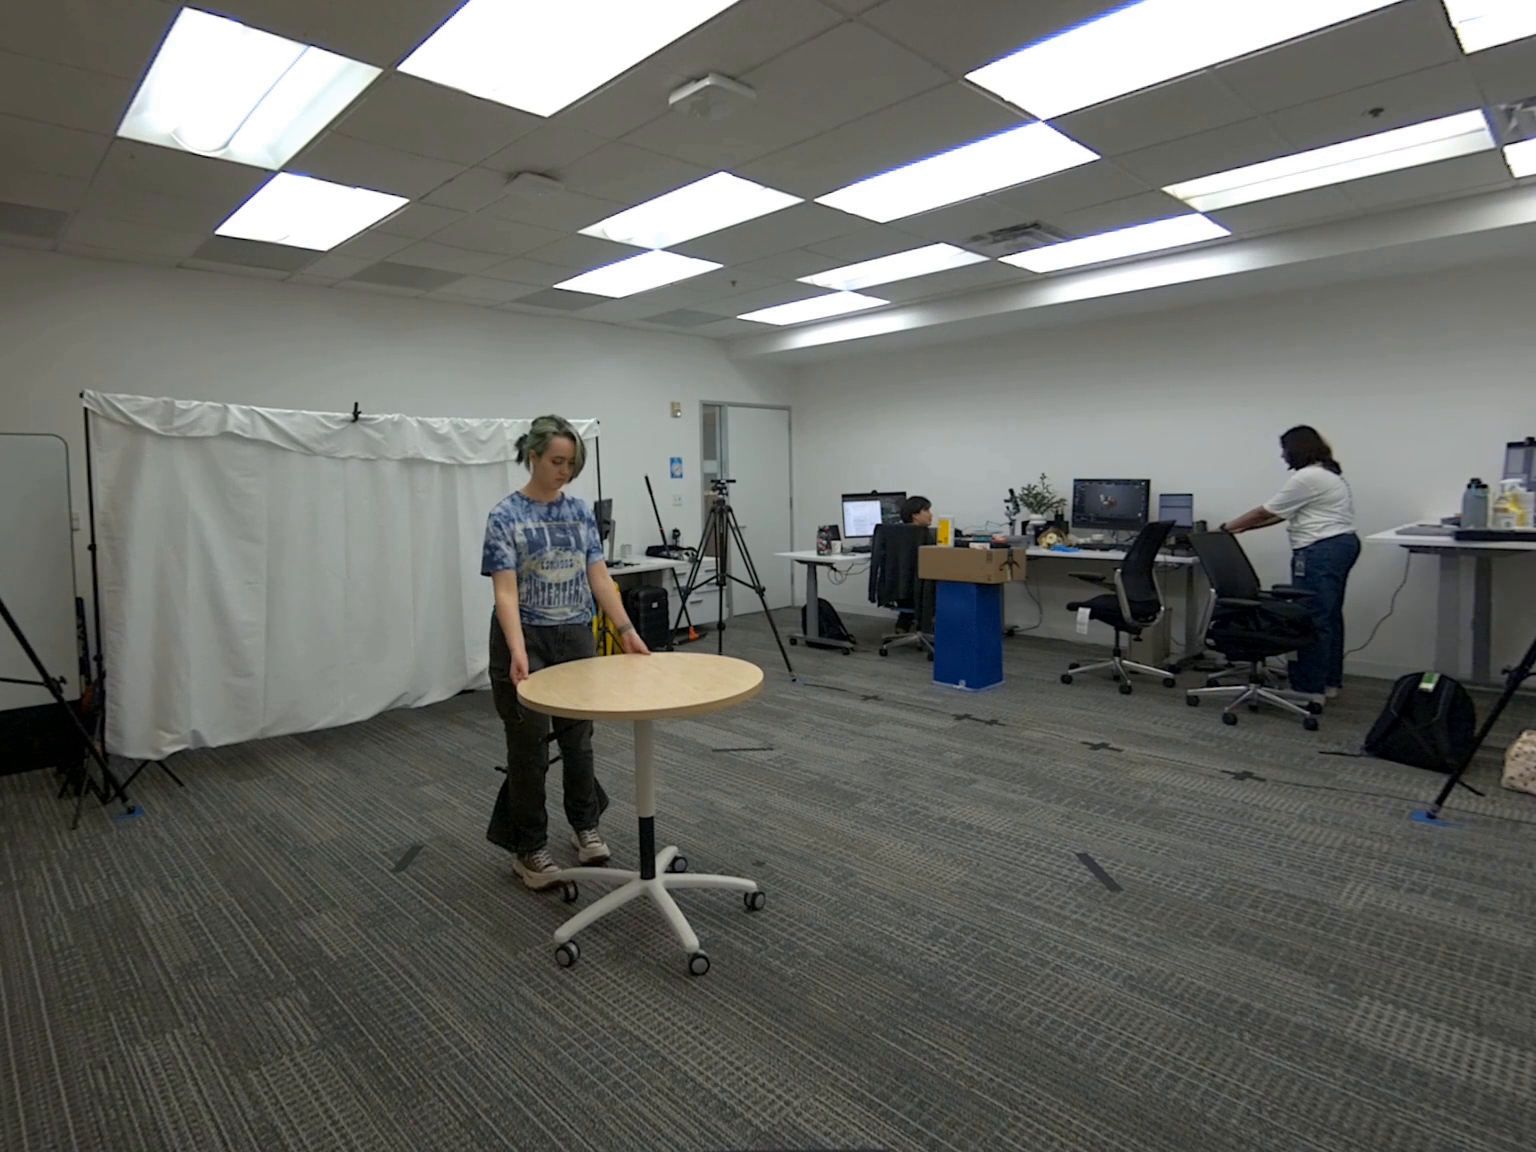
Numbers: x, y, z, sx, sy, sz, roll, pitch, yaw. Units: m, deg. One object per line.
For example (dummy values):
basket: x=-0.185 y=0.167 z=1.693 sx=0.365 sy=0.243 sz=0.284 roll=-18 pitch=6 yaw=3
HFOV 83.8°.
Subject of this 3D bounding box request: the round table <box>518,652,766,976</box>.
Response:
round table: x=-0.377 y=0.711 z=2.706 sx=0.763 sy=0.791 sz=0.768 roll=-2 pitch=5 yaw=-2
